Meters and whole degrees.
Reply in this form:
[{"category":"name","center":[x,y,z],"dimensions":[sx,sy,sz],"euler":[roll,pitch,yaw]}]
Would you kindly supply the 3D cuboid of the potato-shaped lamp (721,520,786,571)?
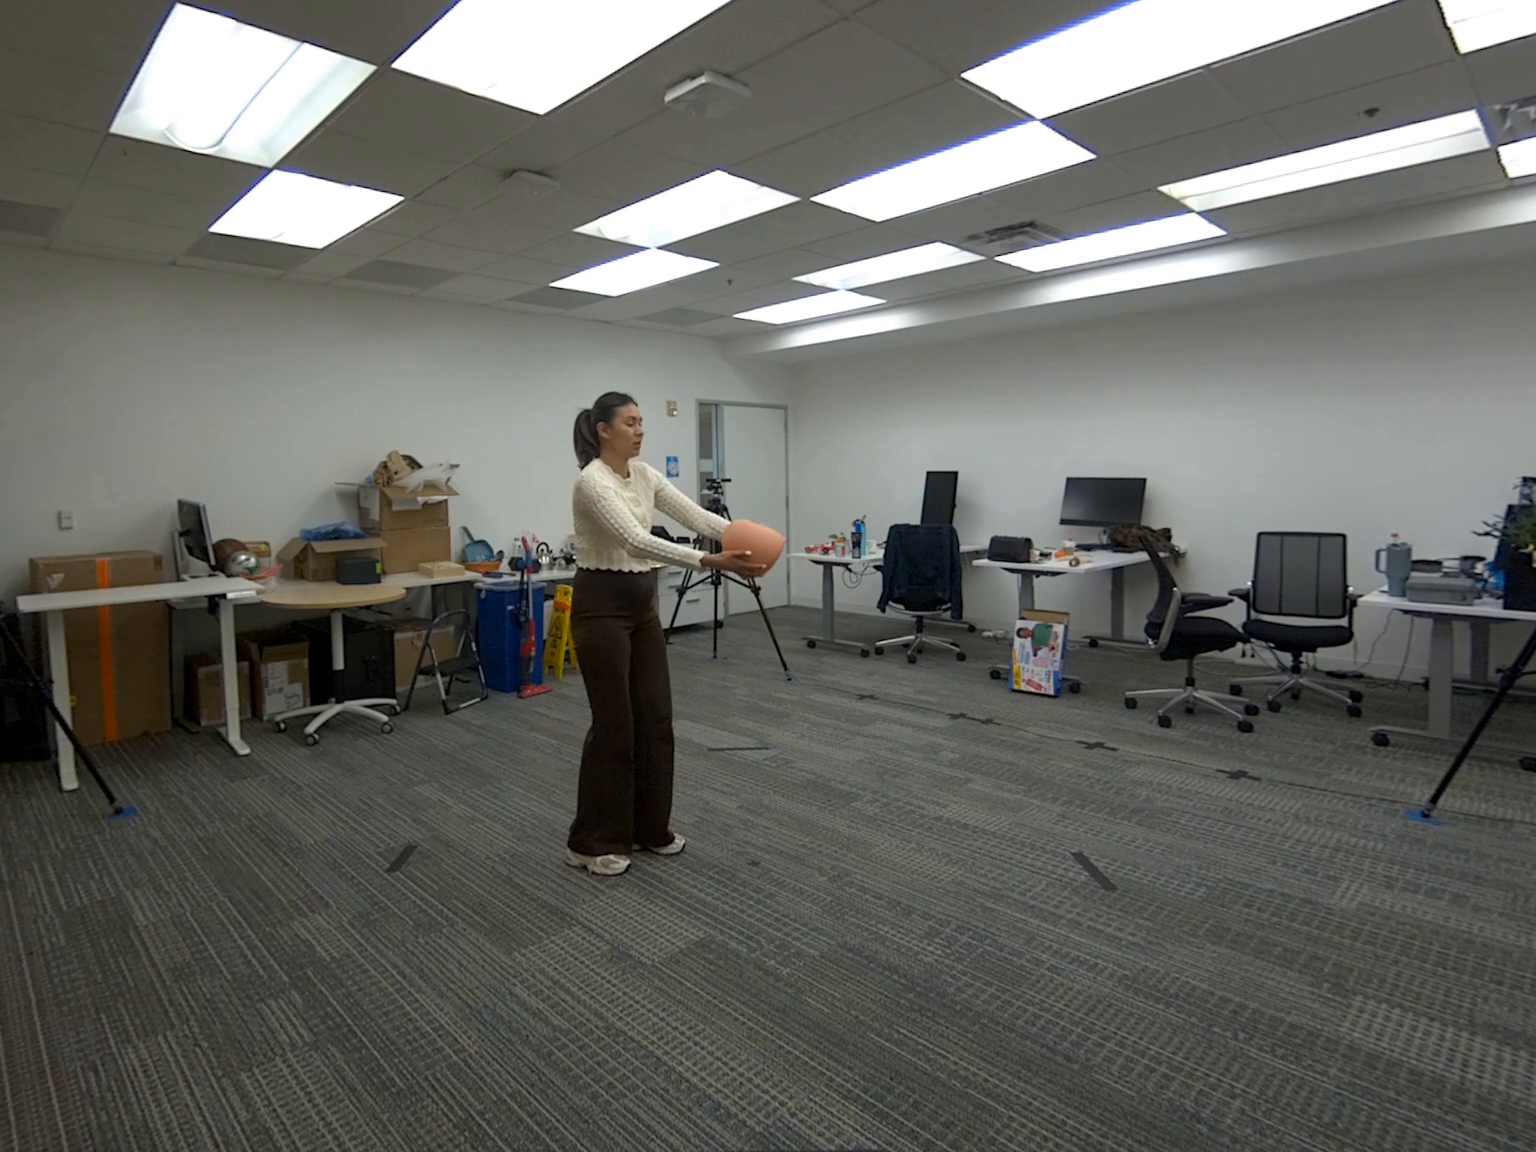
[{"category":"potato-shaped lamp","center":[-0.068,-0.095,2.839],"dimensions":[0.164,0.197,0.173],"euler":[-47,8,36]}]
